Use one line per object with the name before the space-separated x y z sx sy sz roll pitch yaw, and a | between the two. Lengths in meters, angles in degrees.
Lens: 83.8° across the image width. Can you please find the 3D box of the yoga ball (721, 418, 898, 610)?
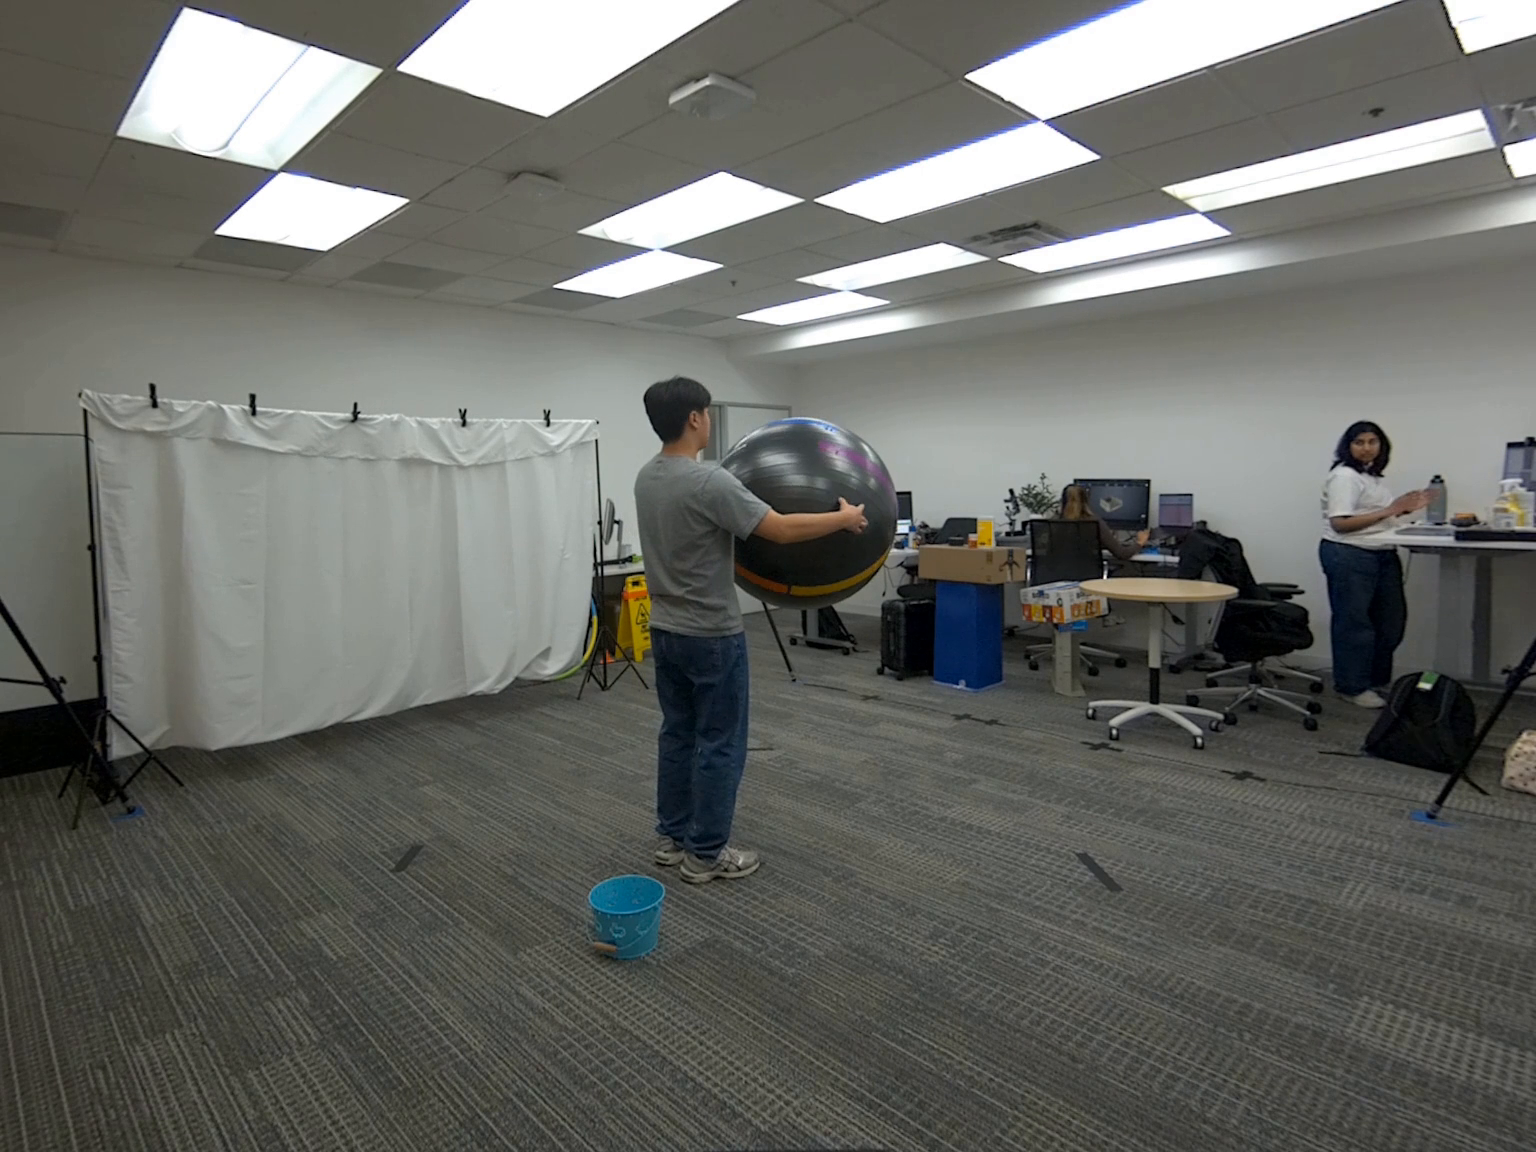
yoga ball | 0.128 -0.245 3.405 0.757 0.755 0.762 -1 5 -2
